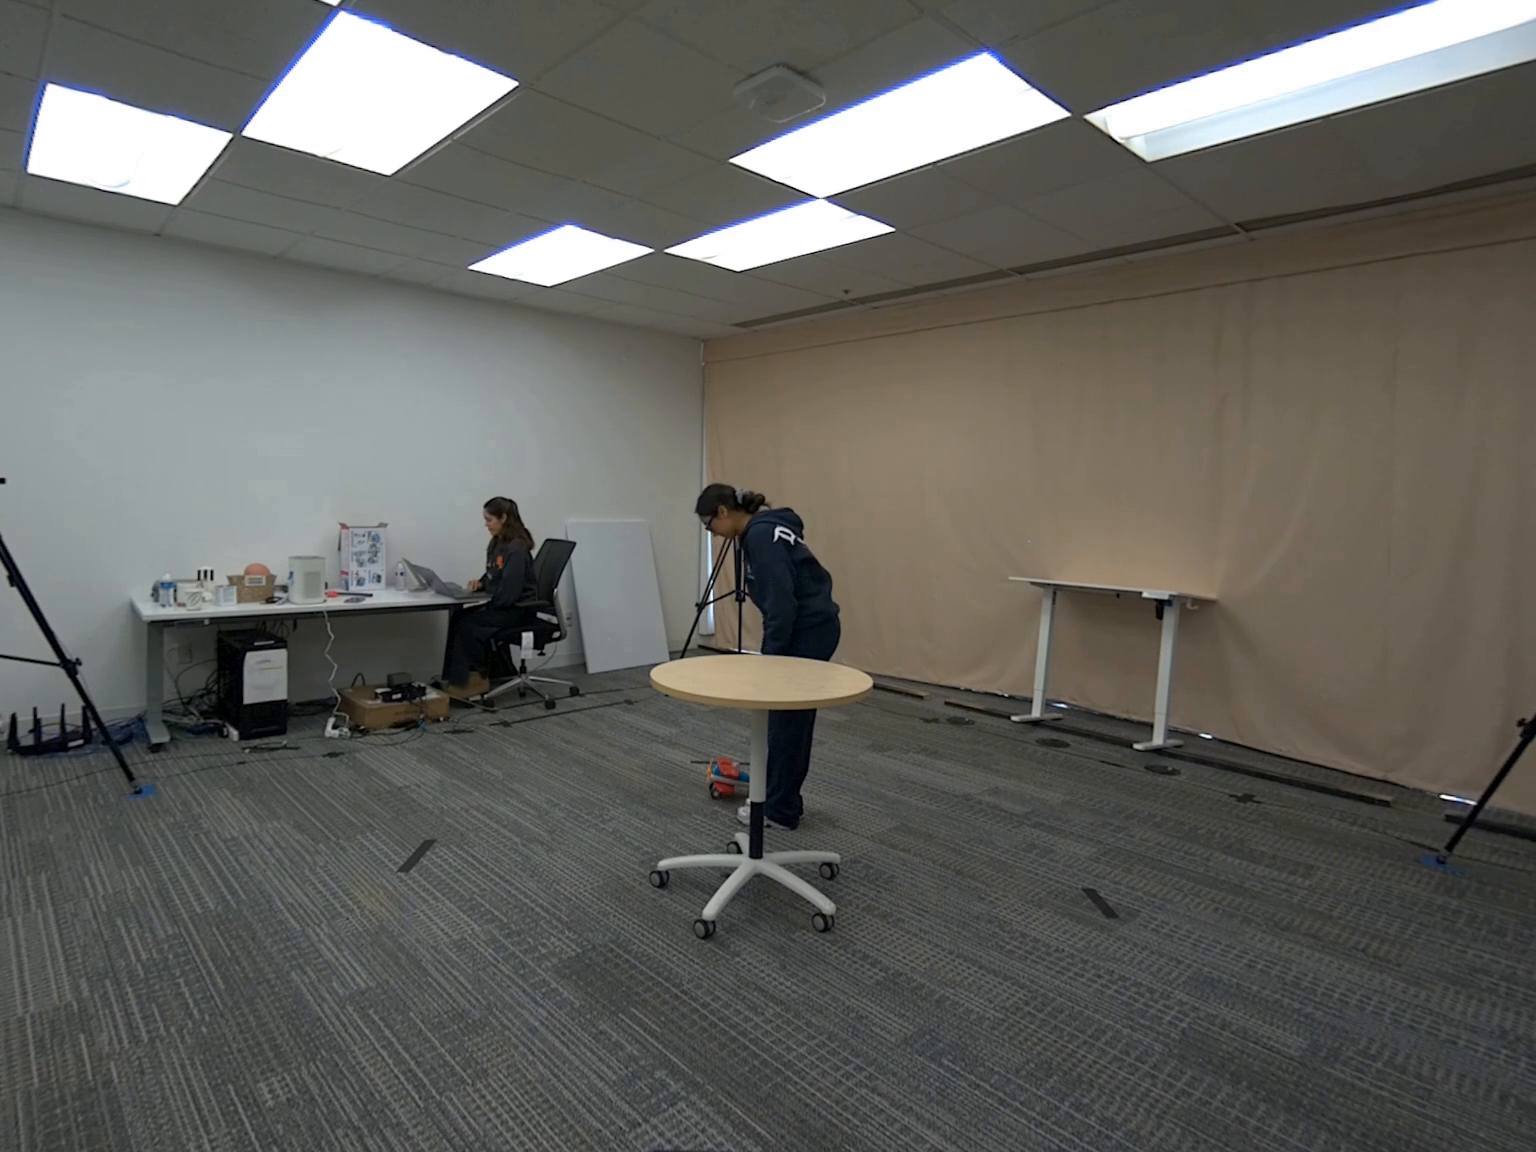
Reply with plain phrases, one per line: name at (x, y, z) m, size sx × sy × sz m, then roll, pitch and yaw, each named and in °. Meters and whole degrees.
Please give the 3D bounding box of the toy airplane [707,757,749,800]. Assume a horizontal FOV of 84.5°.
toy airplane at (-0.182, 0.956, 3.981) m, size 0.253 × 0.156 × 0.257 m, roll -1°, pitch 7°, yaw -36°
